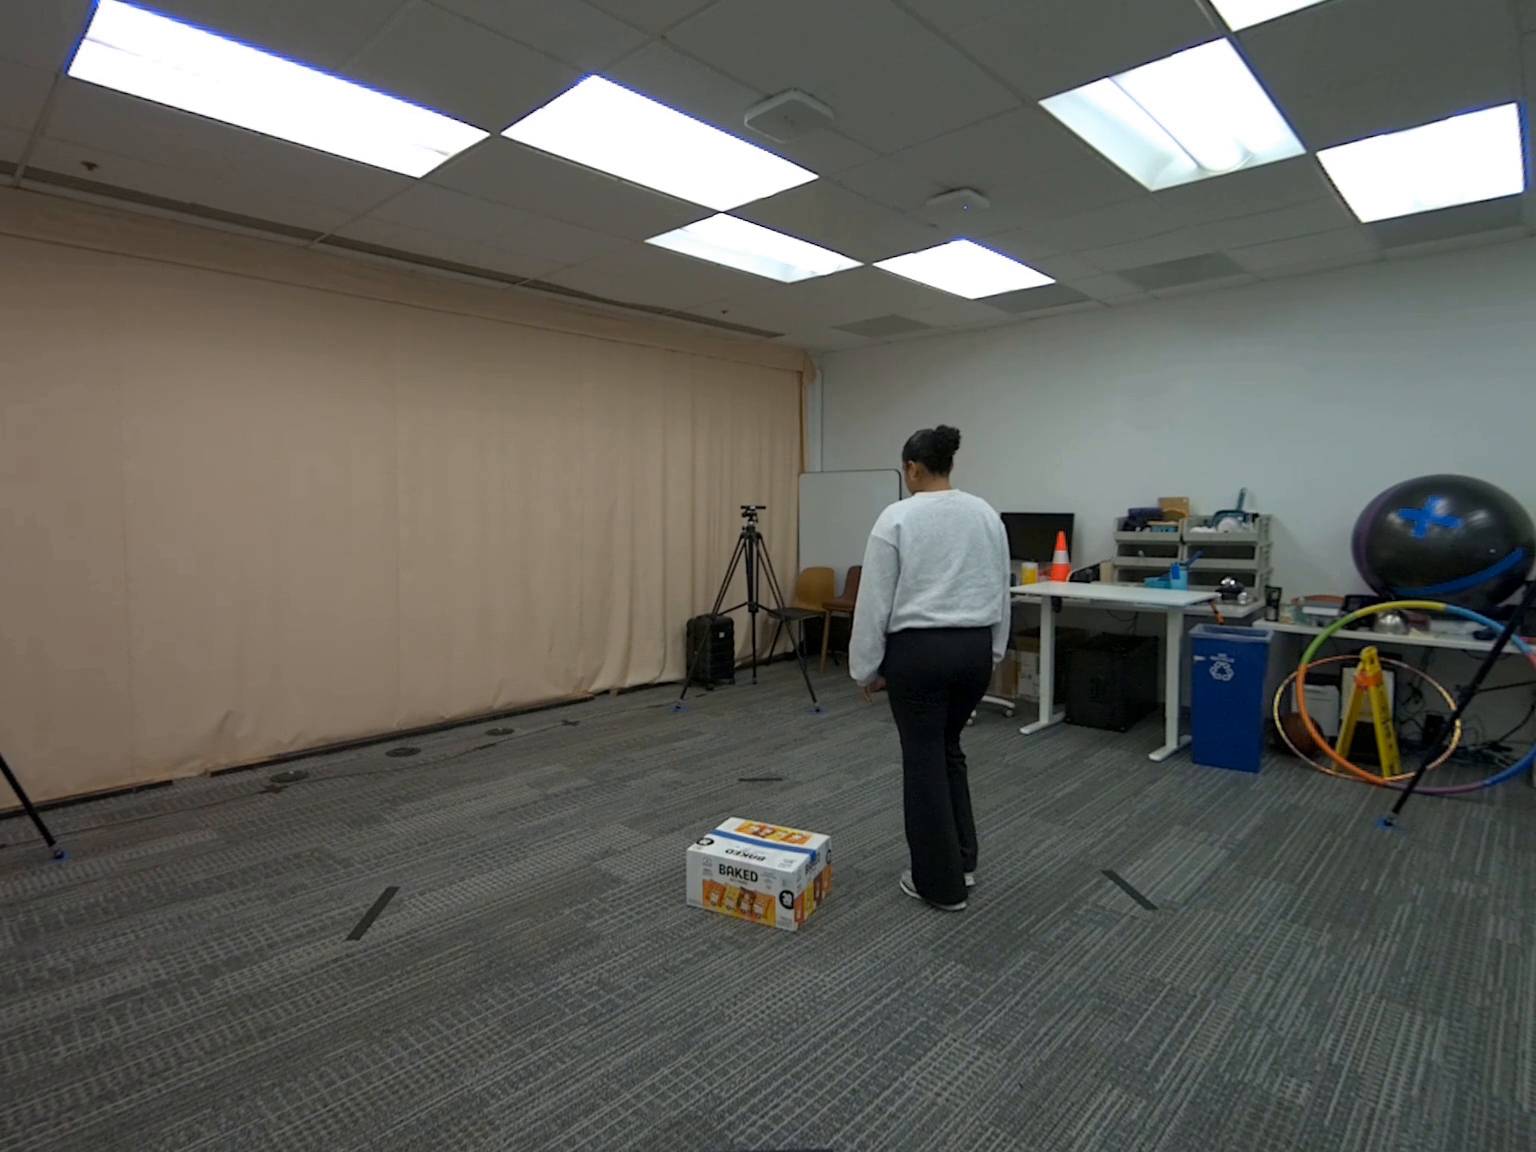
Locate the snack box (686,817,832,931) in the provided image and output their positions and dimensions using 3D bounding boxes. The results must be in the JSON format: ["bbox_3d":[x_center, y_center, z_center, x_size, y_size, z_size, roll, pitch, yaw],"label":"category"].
[{"bbox_3d":[-0.024,1.045,2.980,0.416,0.205,0.332,2,4,26],"label":"snack box"}]
